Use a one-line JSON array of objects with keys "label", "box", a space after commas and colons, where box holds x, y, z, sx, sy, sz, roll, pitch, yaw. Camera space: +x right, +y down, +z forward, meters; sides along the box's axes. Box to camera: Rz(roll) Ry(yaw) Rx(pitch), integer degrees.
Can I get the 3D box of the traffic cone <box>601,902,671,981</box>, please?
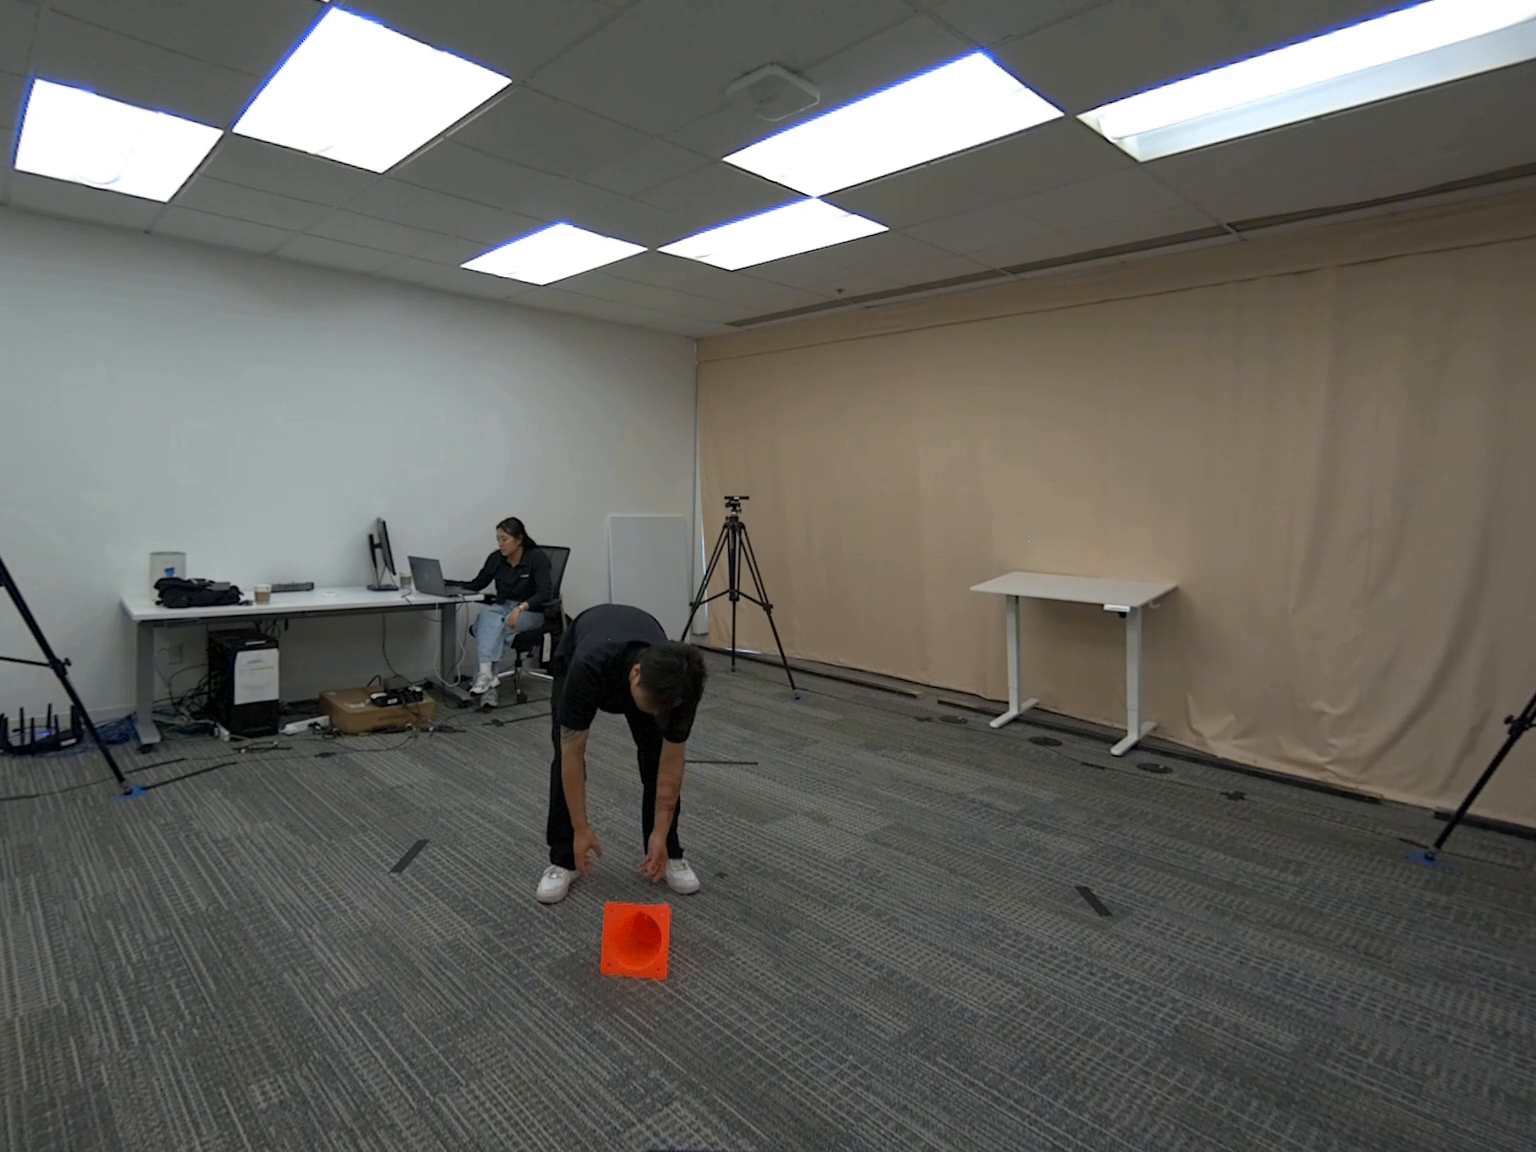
[{"label": "traffic cone", "box": [-0.391, 1.103, 2.636, 0.206, 0.205, 0.379, 1, -11, 4]}]
